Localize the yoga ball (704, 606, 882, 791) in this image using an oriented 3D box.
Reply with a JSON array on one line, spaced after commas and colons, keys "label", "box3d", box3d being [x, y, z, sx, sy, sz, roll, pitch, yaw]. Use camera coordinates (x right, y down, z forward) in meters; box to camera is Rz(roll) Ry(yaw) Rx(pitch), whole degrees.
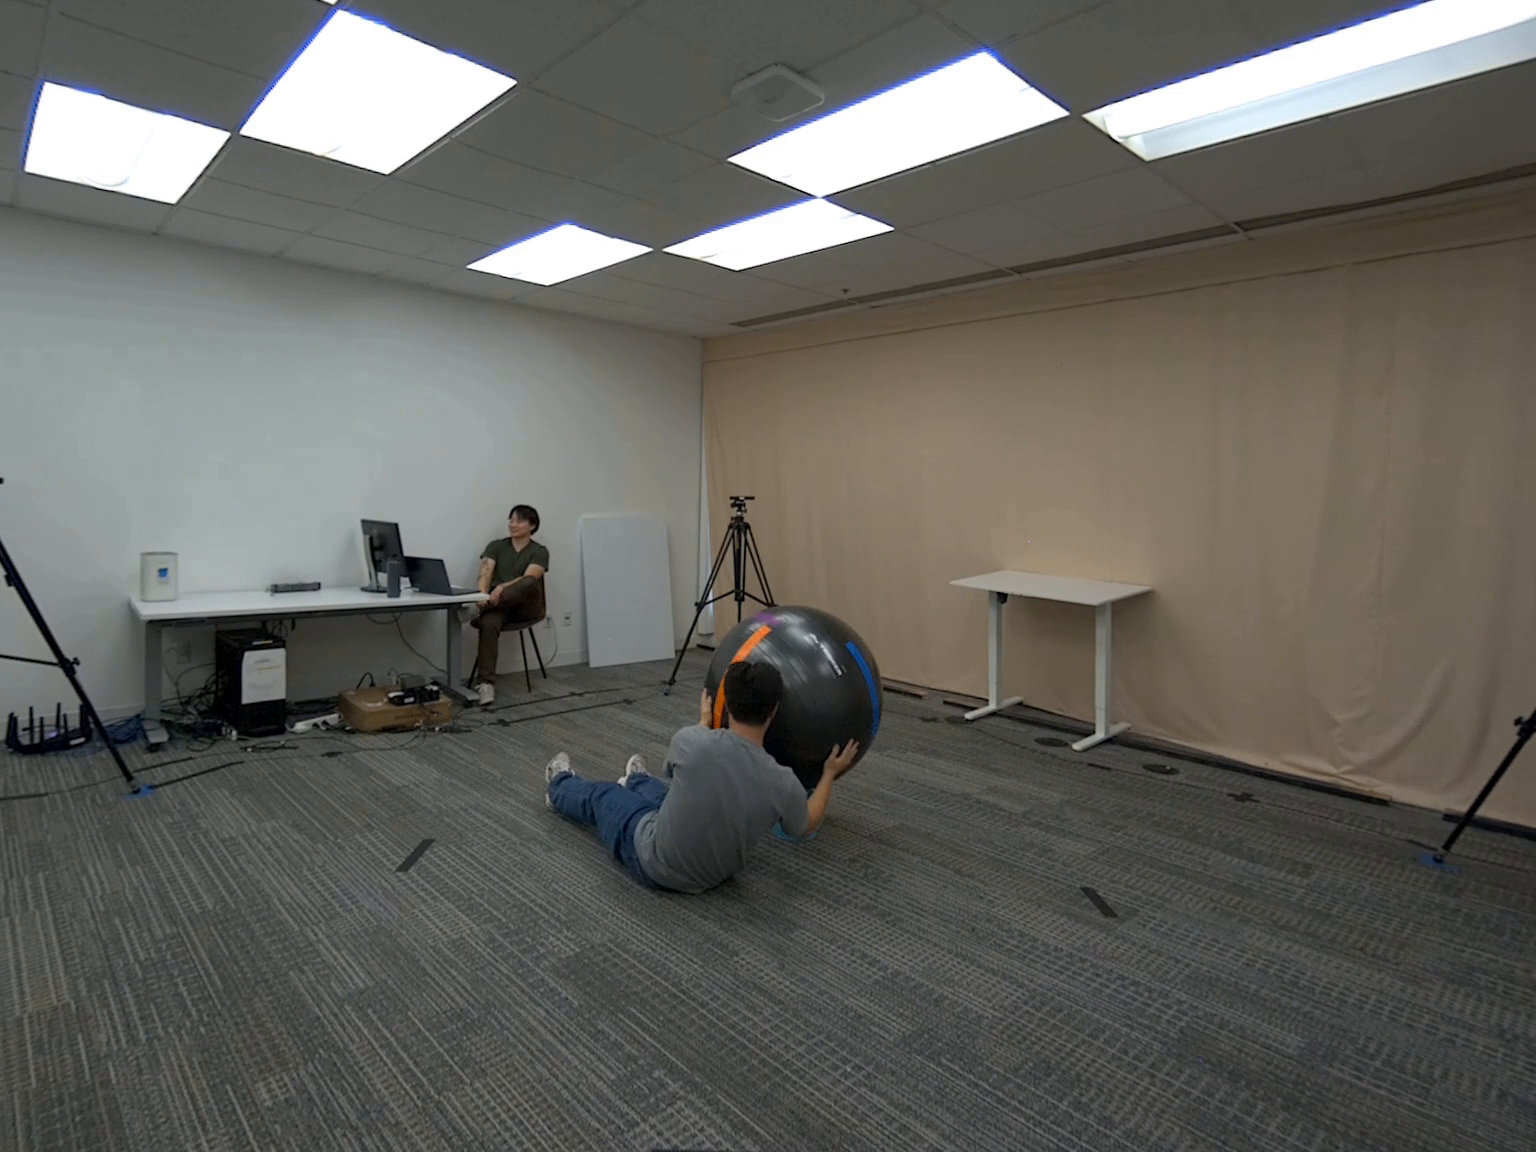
[{"label": "yoga ball", "box3d": [0.084, 0.503, 3.536, 0.757, 0.756, 0.761, 1, 4, -1]}]
